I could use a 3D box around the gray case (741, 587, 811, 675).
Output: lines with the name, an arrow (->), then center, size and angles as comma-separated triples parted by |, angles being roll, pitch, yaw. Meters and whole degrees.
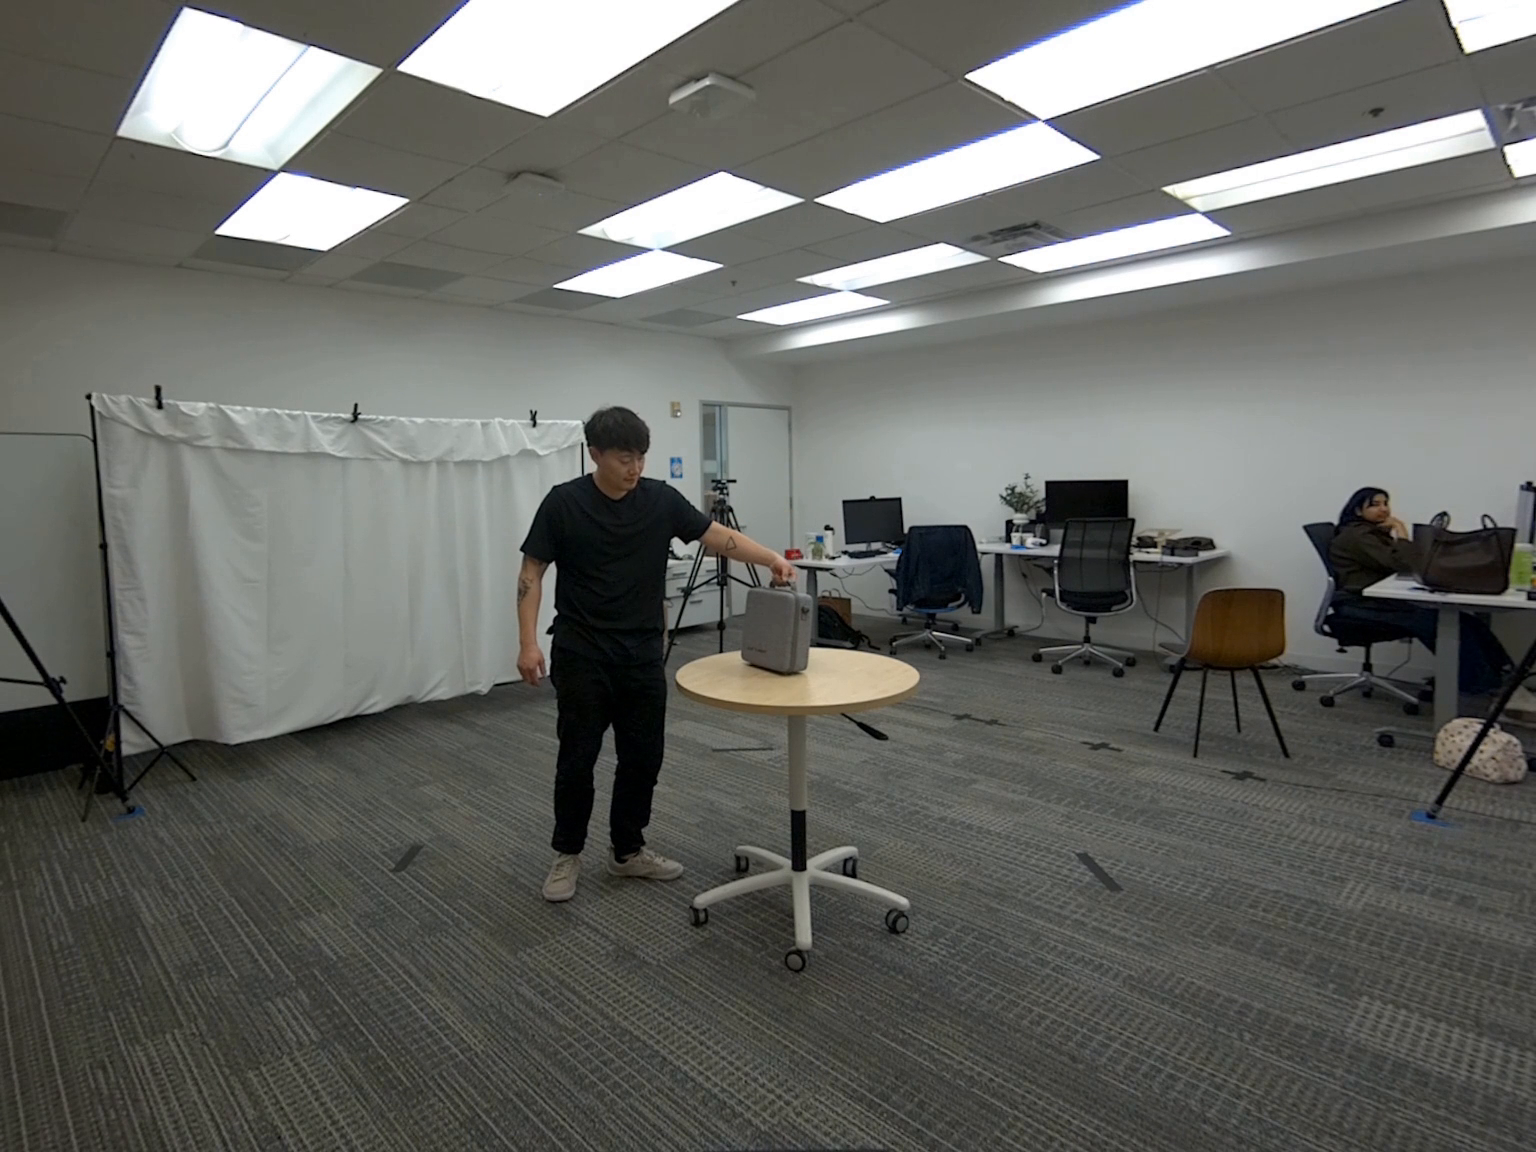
gray case -> 0.022, 0.168, 2.772 | 0.101, 0.260, 0.264 | 5, 1, -34
